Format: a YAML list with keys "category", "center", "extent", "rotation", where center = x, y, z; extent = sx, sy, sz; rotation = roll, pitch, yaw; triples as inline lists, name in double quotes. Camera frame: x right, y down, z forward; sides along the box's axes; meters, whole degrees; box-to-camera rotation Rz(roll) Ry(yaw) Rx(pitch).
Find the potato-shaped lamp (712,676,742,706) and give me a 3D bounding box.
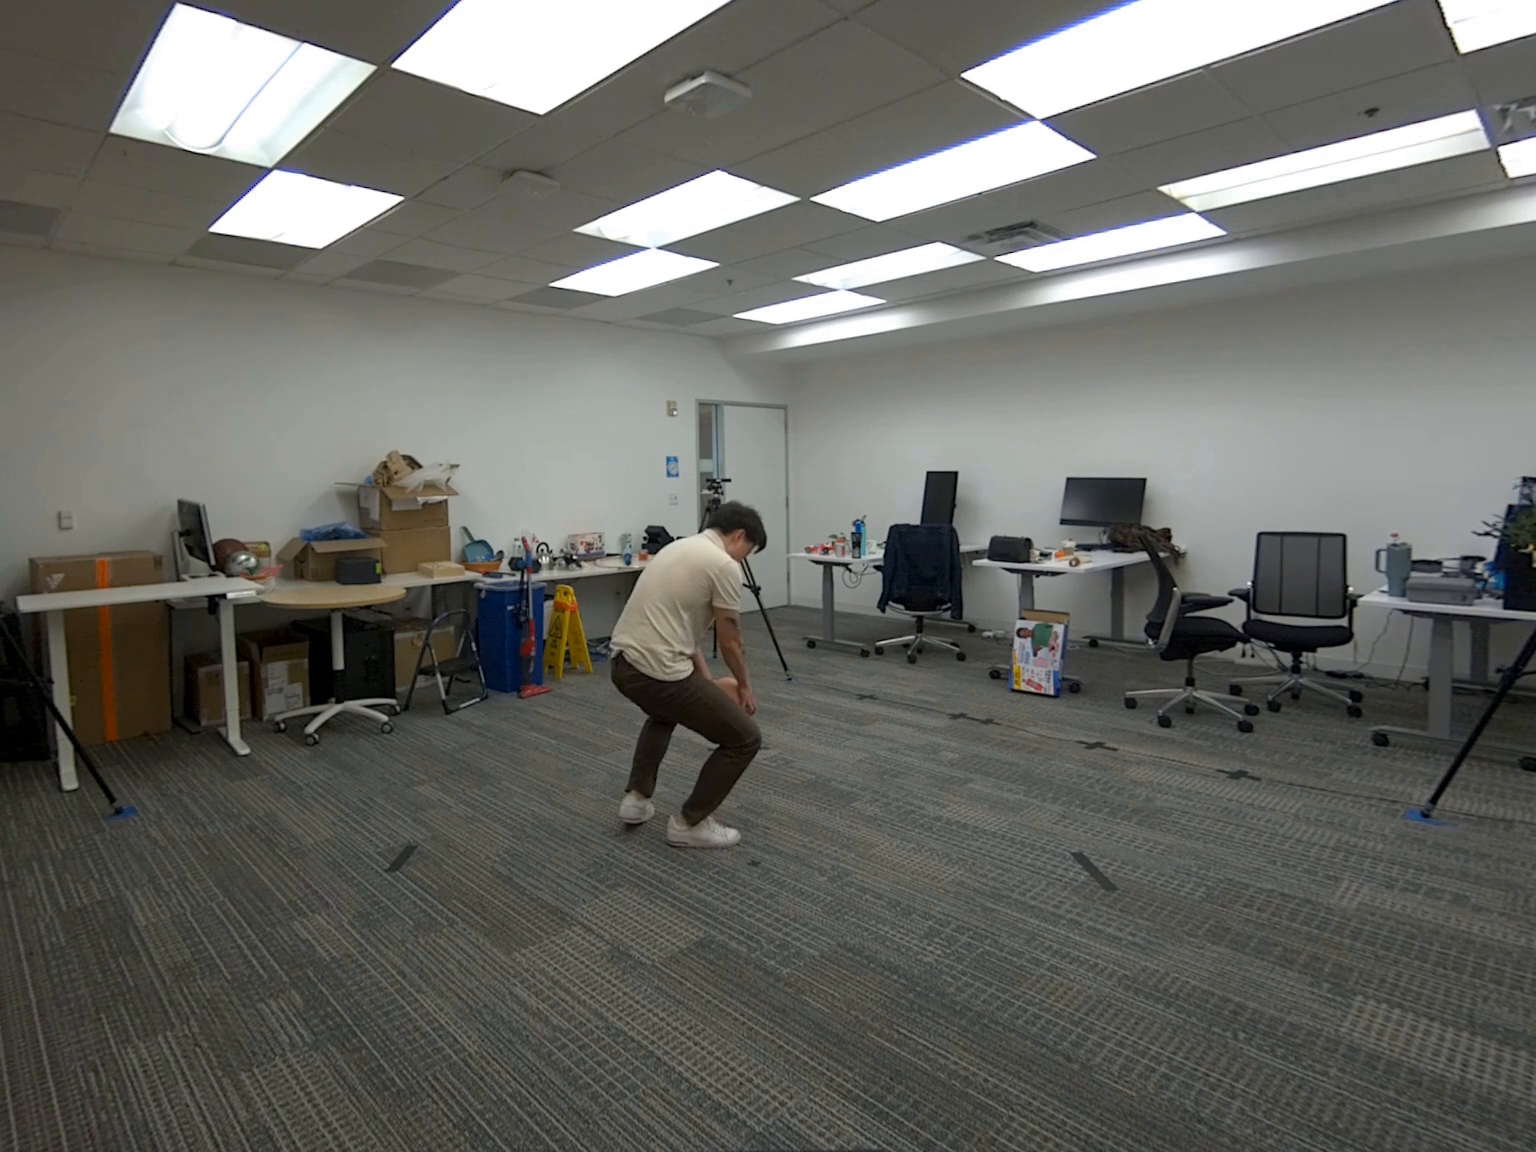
- category: "potato-shaped lamp"
  center: [-0.157, 0.511, 3.499]
  extent: [0.166, 0.194, 0.173]
  rotation: [-10, 20, 10]
